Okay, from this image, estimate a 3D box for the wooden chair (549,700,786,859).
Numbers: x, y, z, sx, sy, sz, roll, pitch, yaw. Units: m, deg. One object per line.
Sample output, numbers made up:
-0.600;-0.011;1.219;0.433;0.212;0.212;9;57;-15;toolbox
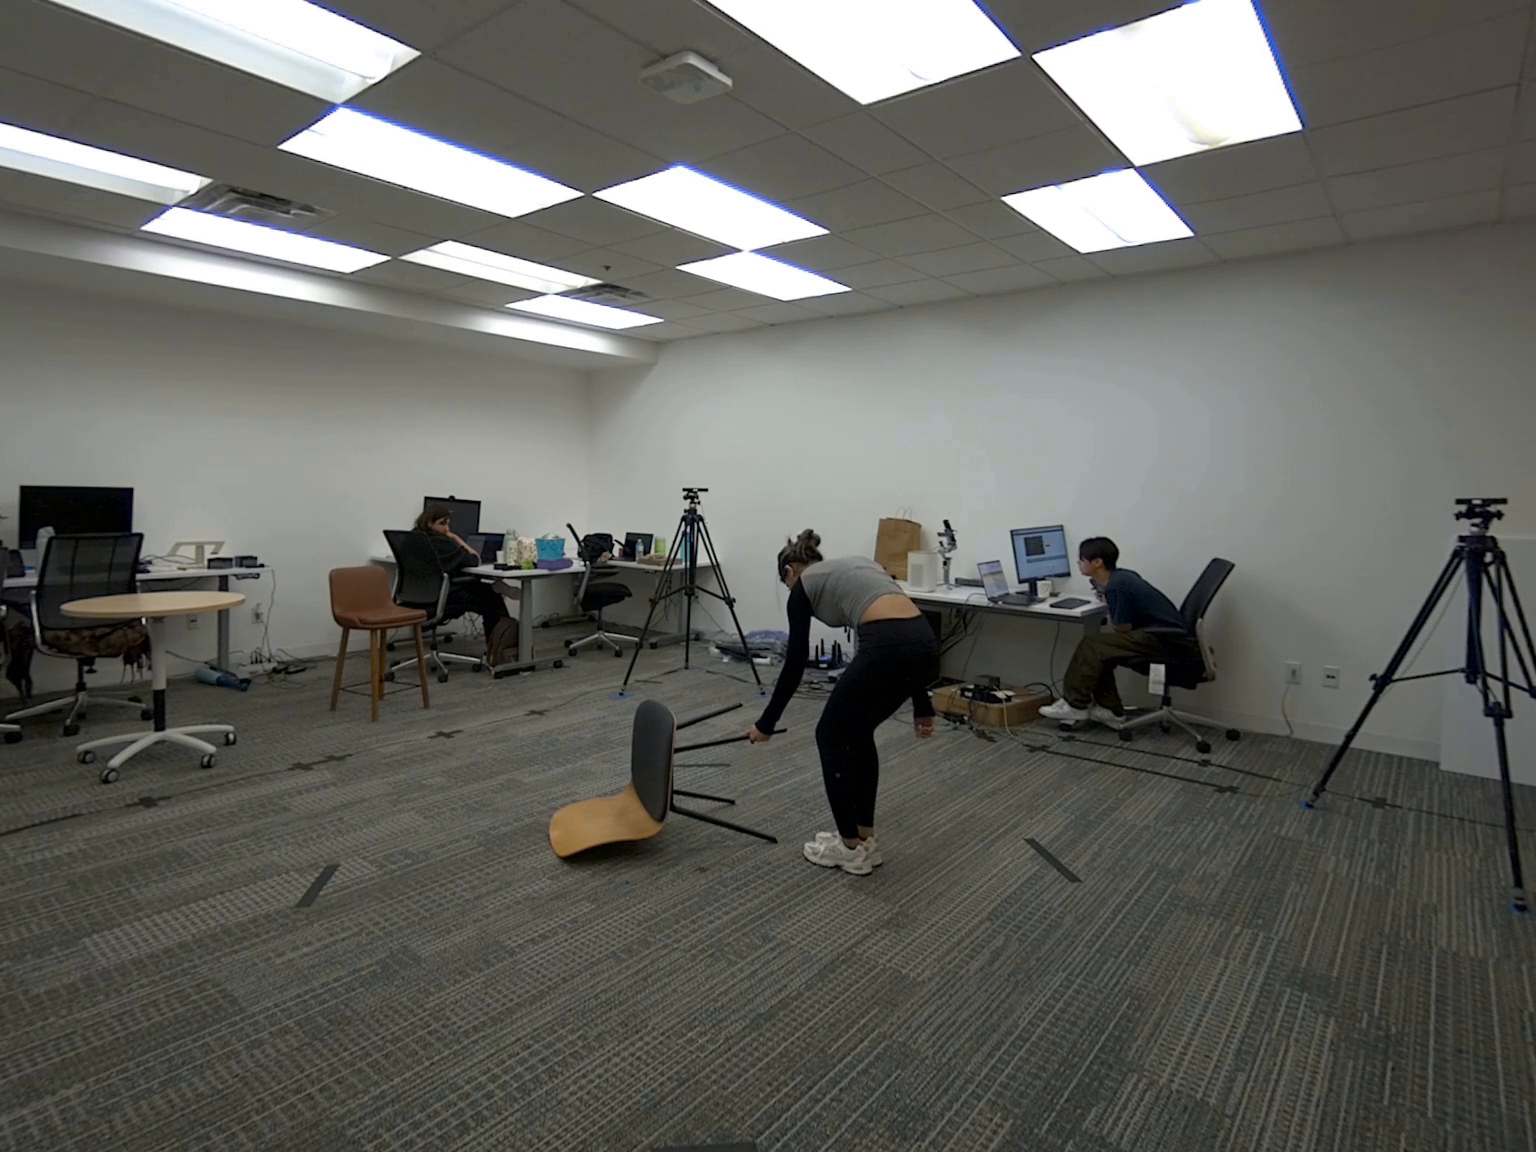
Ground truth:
-0.436;0.776;3.404;0.859;0.521;0.490;-2;5;-22;wooden chair
